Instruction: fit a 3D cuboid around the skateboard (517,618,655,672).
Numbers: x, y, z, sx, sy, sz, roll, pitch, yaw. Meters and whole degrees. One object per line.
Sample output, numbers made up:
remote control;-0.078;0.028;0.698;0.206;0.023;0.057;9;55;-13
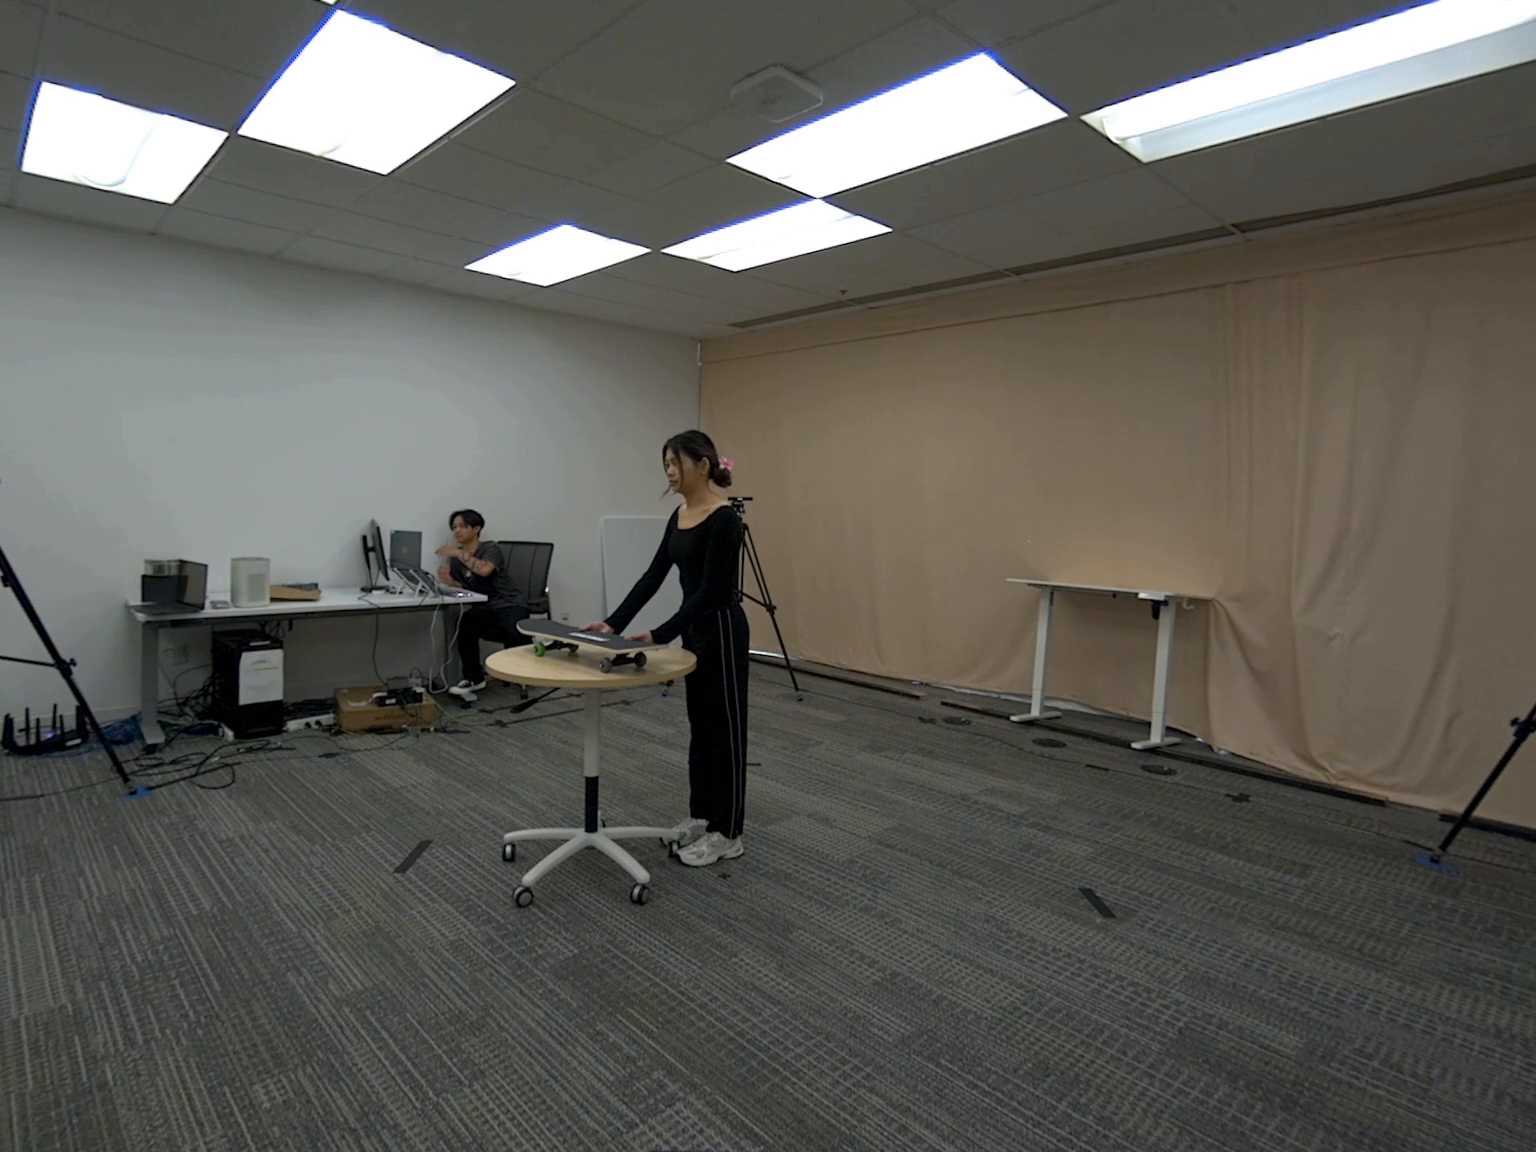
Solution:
skateboard;-0.653;0.261;3.036;0.806;0.110;0.189;6;8;41
